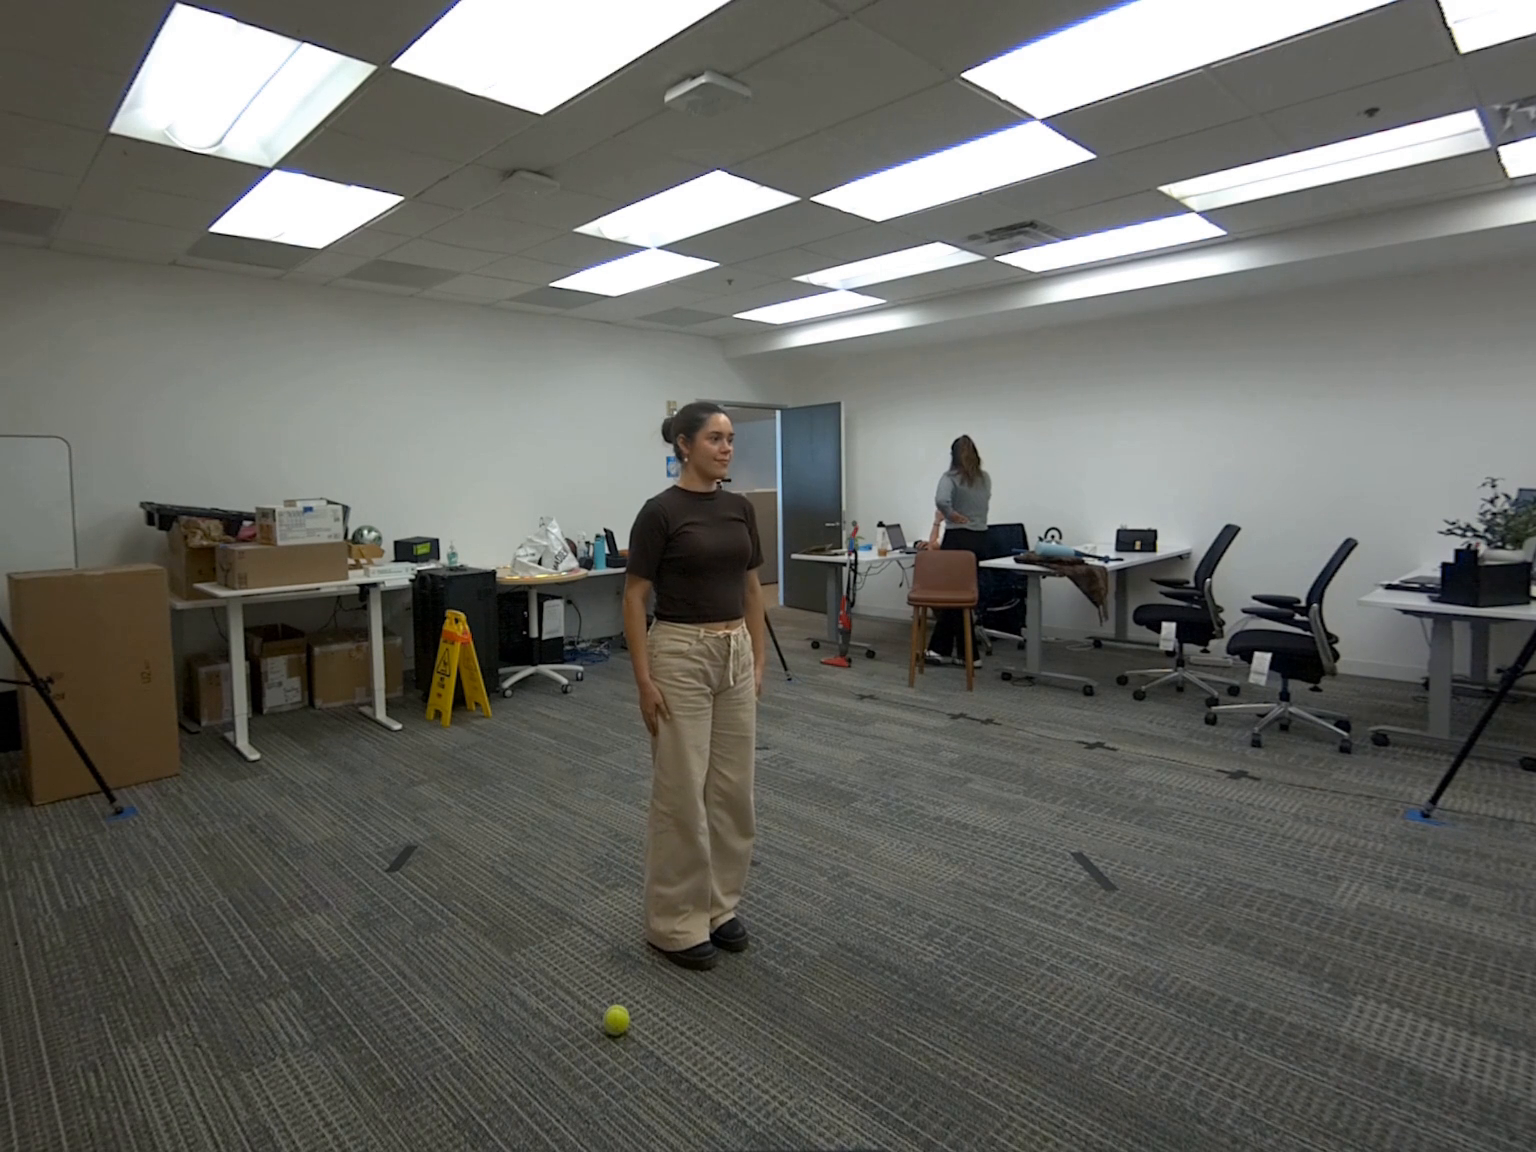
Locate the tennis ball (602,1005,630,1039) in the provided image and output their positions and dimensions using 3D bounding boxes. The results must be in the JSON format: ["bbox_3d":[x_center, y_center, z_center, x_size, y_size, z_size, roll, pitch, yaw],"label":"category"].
[{"bbox_3d":[-0.382,1.114,2.181,0.066,0.066,0.067,-1,5,-2],"label":"tennis ball"}]
